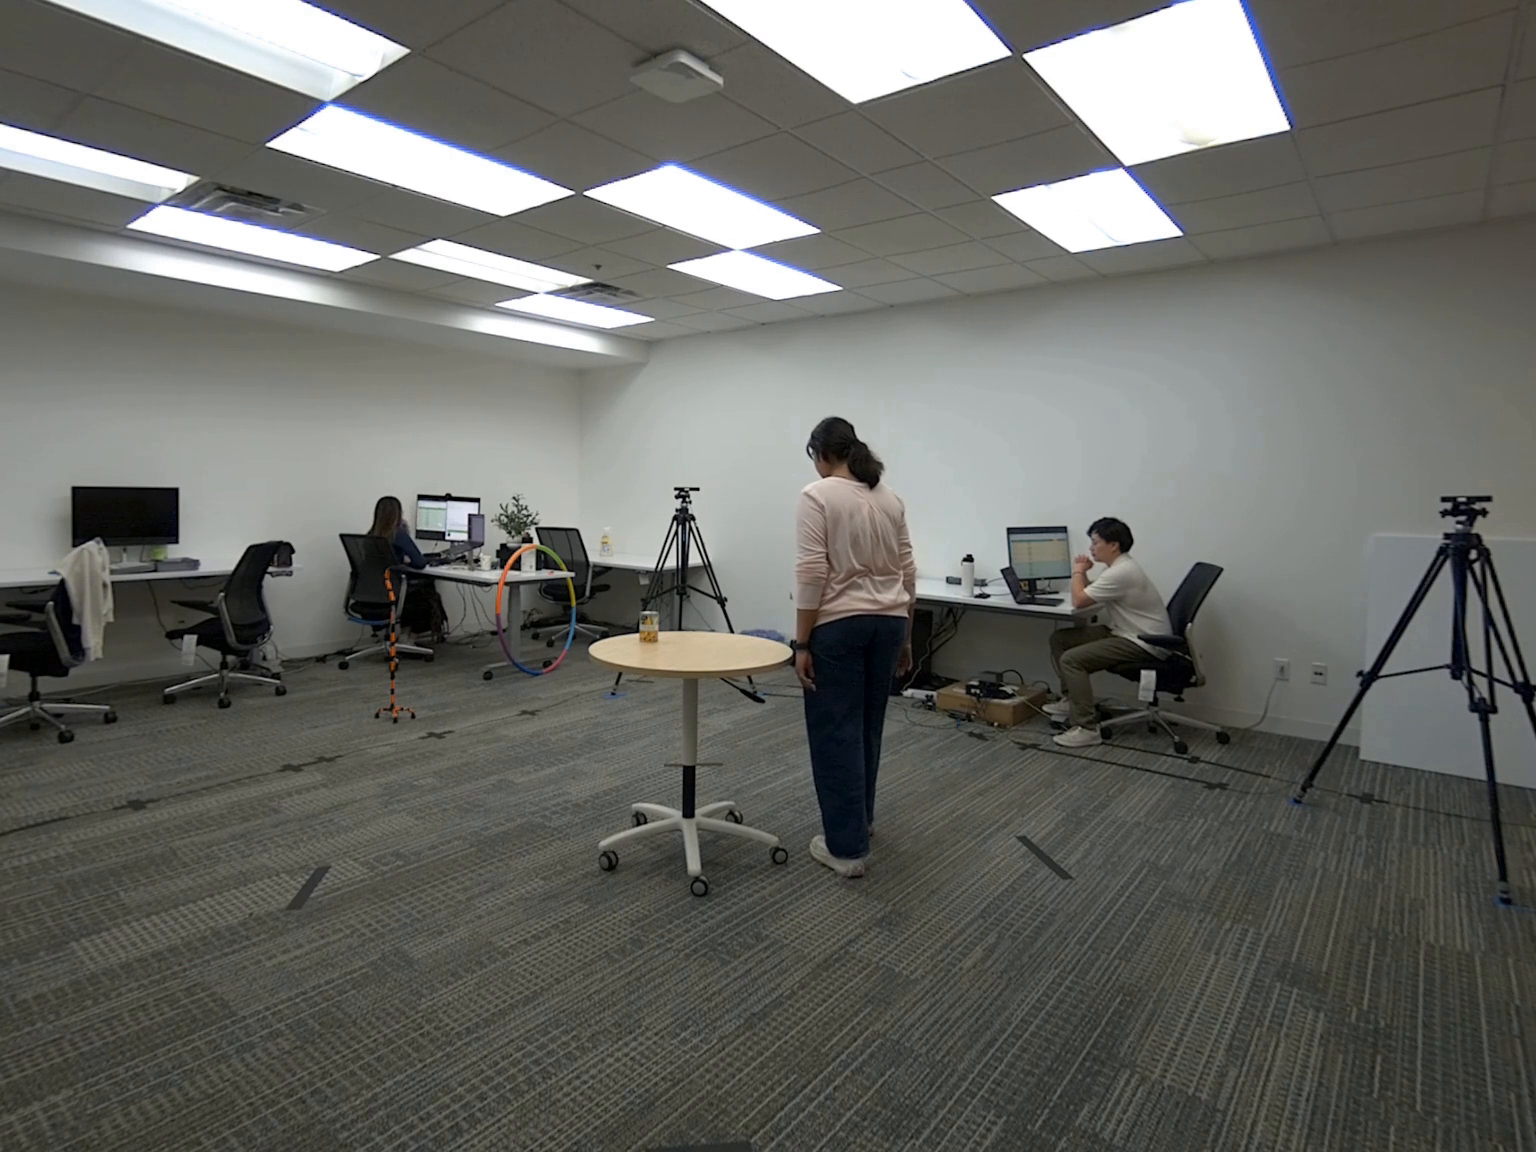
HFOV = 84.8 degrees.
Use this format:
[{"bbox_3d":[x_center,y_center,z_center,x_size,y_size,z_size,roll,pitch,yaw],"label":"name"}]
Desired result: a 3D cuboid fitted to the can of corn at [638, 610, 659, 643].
[{"bbox_3d":[-0.484,0.197,3.355,0.074,0.111,0.074,3,2,-2],"label":"can of corn"}]
